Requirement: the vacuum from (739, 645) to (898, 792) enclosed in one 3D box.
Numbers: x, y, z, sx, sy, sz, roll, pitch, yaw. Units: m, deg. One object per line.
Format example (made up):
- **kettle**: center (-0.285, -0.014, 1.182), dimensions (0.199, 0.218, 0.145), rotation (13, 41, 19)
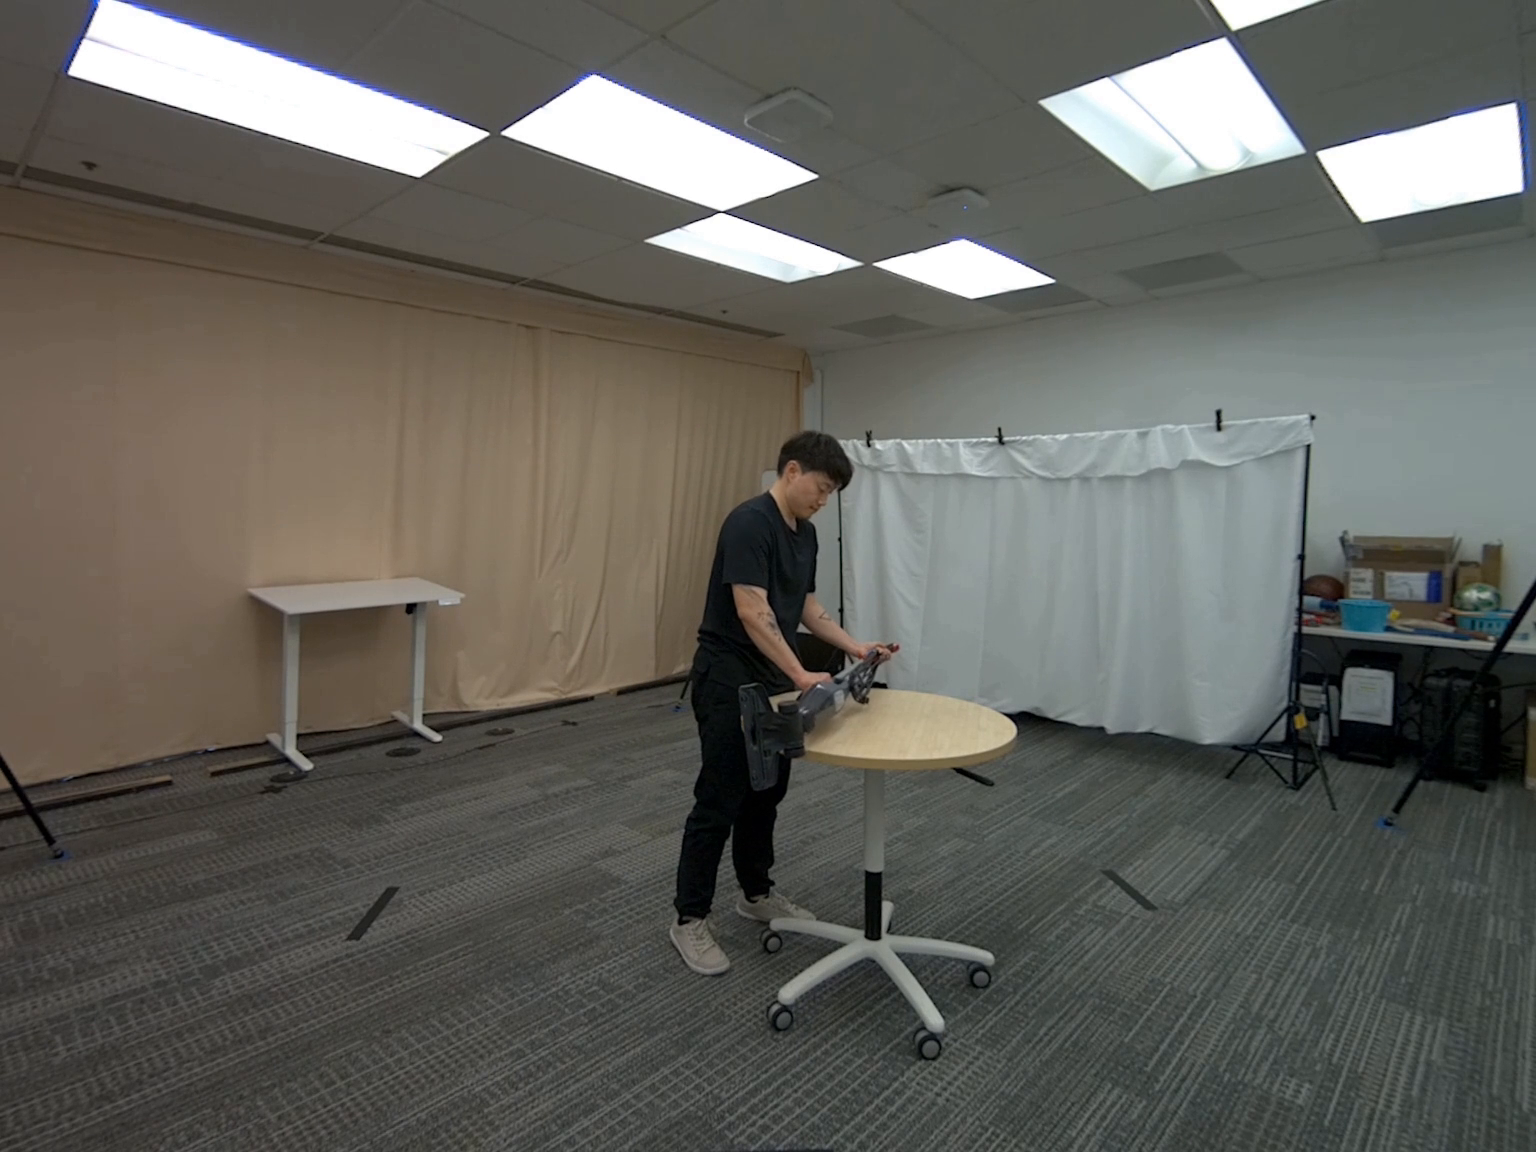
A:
- **vacuum**: center (0.229, 0.328, 2.486), dimensions (0.147, 0.252, 1.026), rotation (-10, 2, 25)
